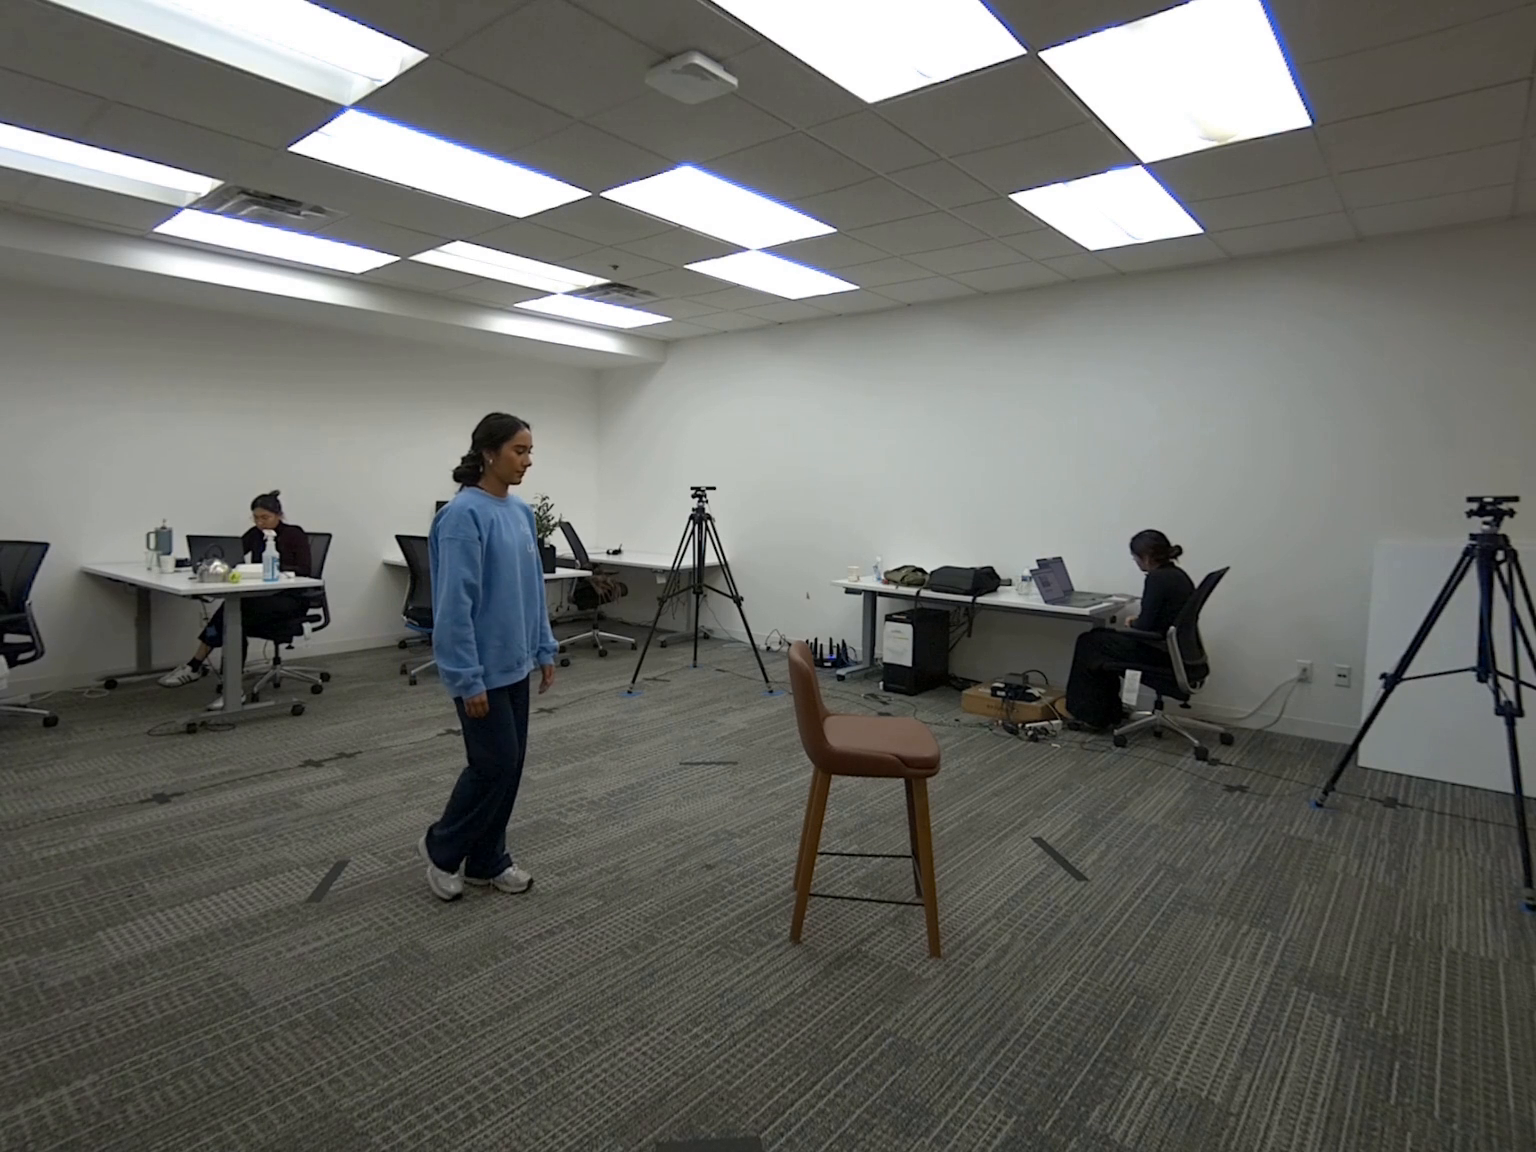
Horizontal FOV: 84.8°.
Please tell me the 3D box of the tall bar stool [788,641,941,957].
[{"bbox_3d":[0.300,0.678,2.739,0.471,0.887,0.454,0,3,6],"label":"tall bar stool"}]
